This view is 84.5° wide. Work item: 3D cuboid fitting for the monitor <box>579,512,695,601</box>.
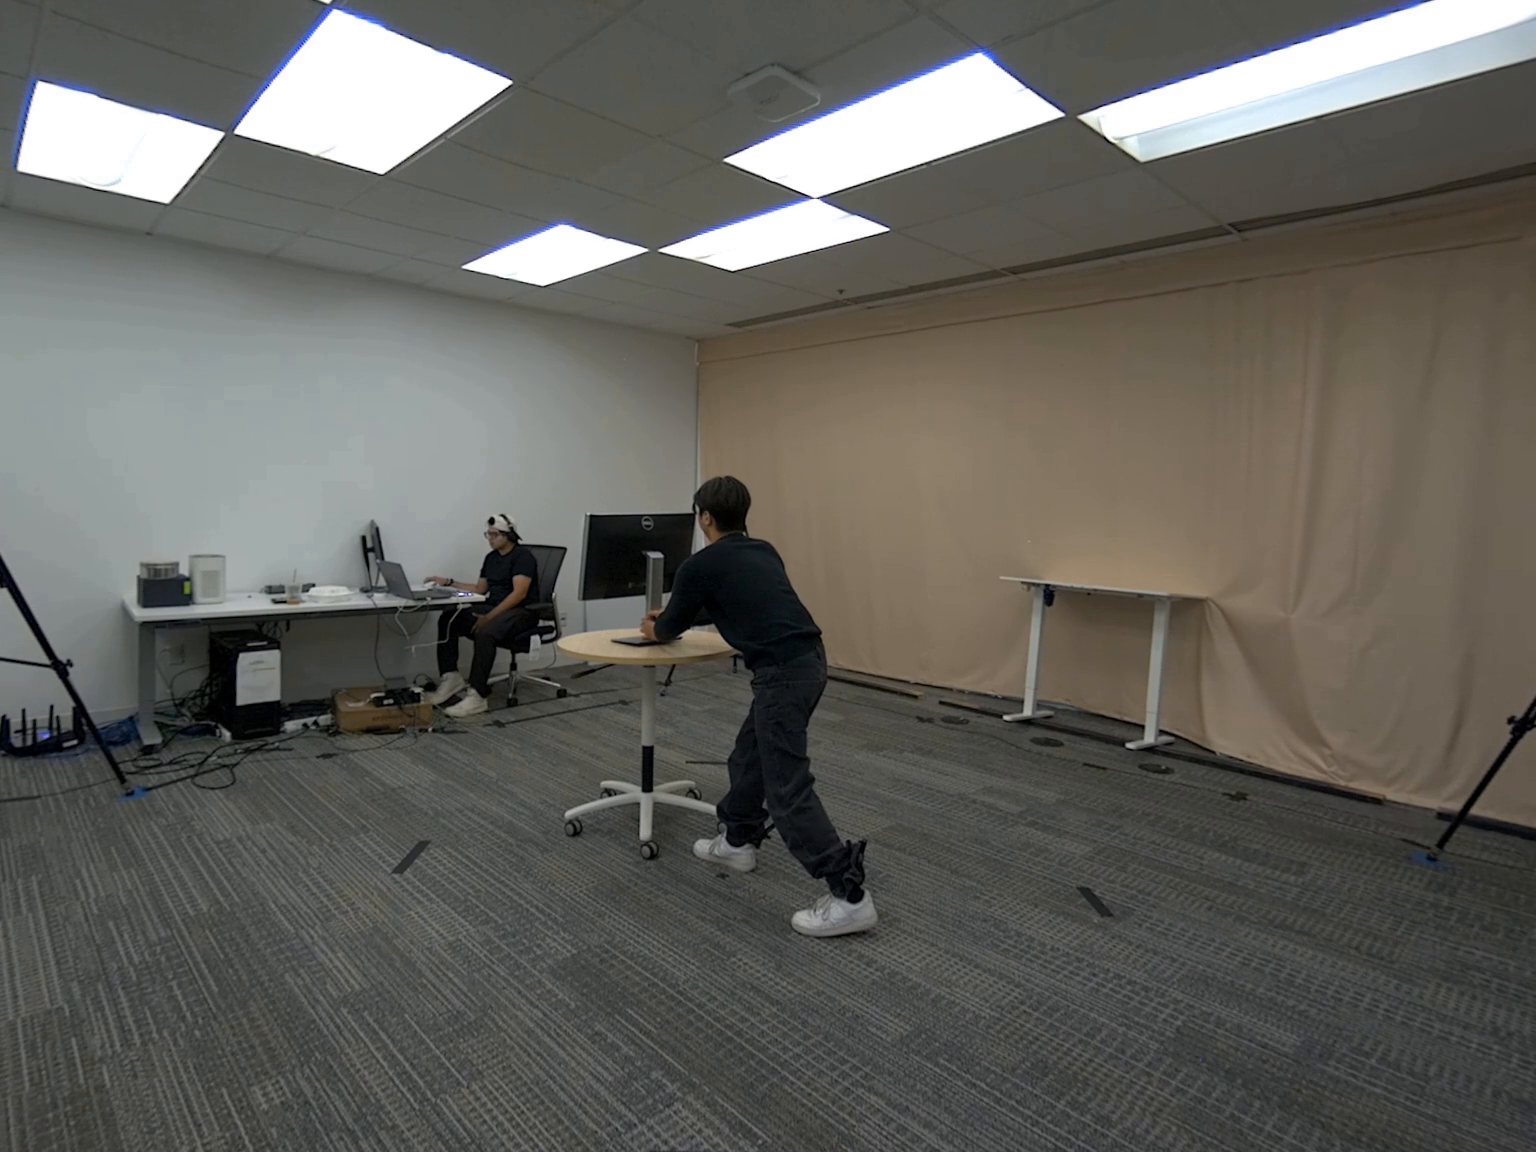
[{"bbox_3d":[-0.525,0.005,3.544,0.191,0.521,0.527,1,4,44],"label":"monitor"}]
